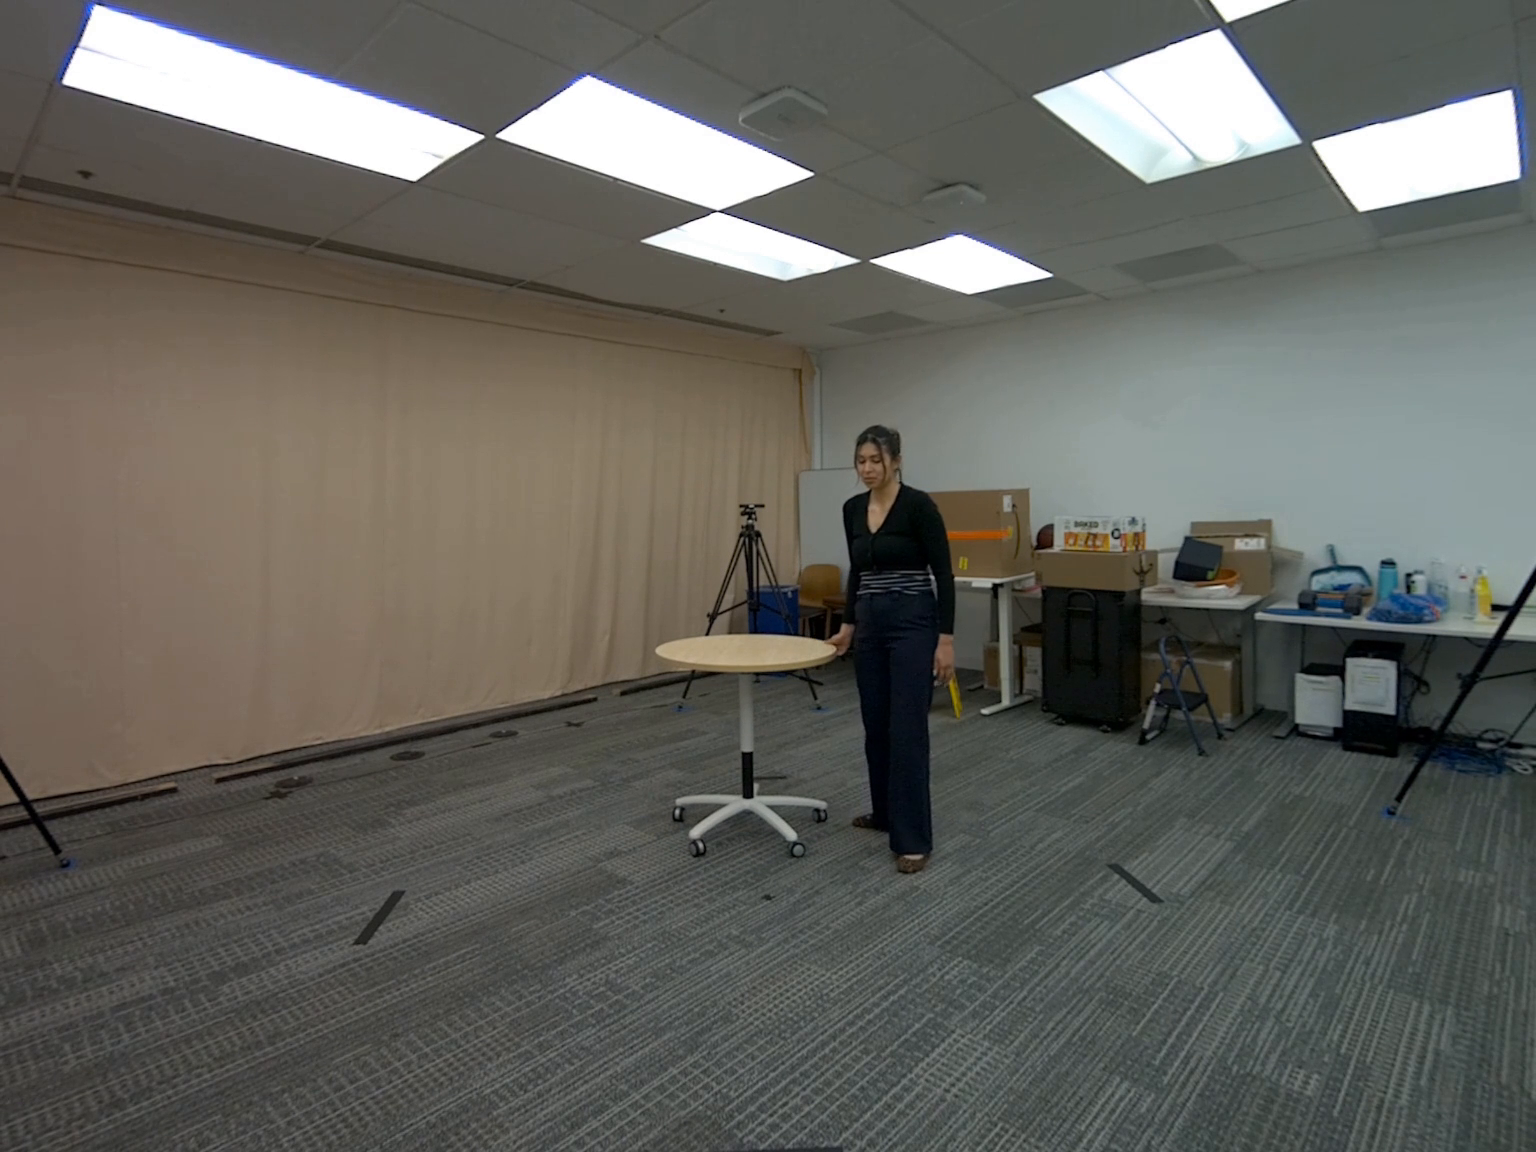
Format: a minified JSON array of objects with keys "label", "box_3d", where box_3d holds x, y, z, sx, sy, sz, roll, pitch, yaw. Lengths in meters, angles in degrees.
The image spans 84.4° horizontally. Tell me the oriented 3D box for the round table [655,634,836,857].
[{"label":"round table","box_3d":[-0.089,0.702,3.599,0.763,0.792,0.766,-1,4,-2]}]
